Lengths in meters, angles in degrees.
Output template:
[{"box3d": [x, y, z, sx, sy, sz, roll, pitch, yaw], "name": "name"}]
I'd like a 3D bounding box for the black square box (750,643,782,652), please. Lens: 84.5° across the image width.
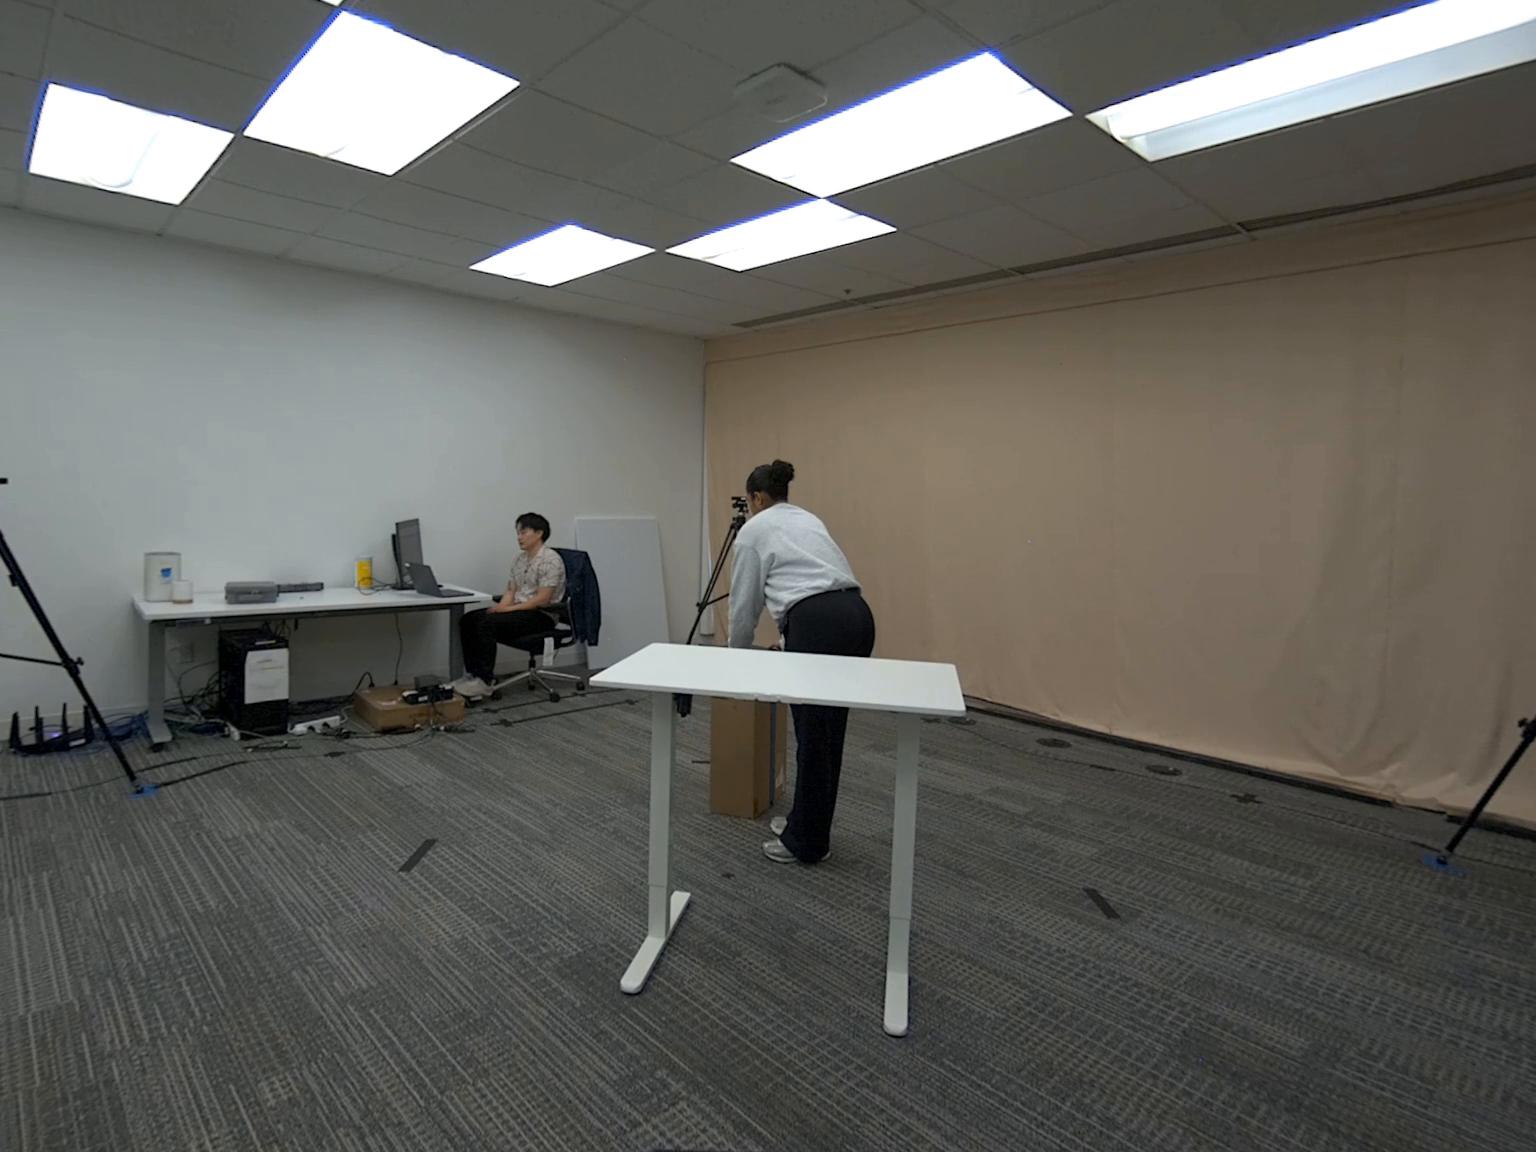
[{"box3d": [-0.119, 0.395, 3.792, 0.222, 0.155, 0.223, 5, 4, 38], "name": "black square box"}]
